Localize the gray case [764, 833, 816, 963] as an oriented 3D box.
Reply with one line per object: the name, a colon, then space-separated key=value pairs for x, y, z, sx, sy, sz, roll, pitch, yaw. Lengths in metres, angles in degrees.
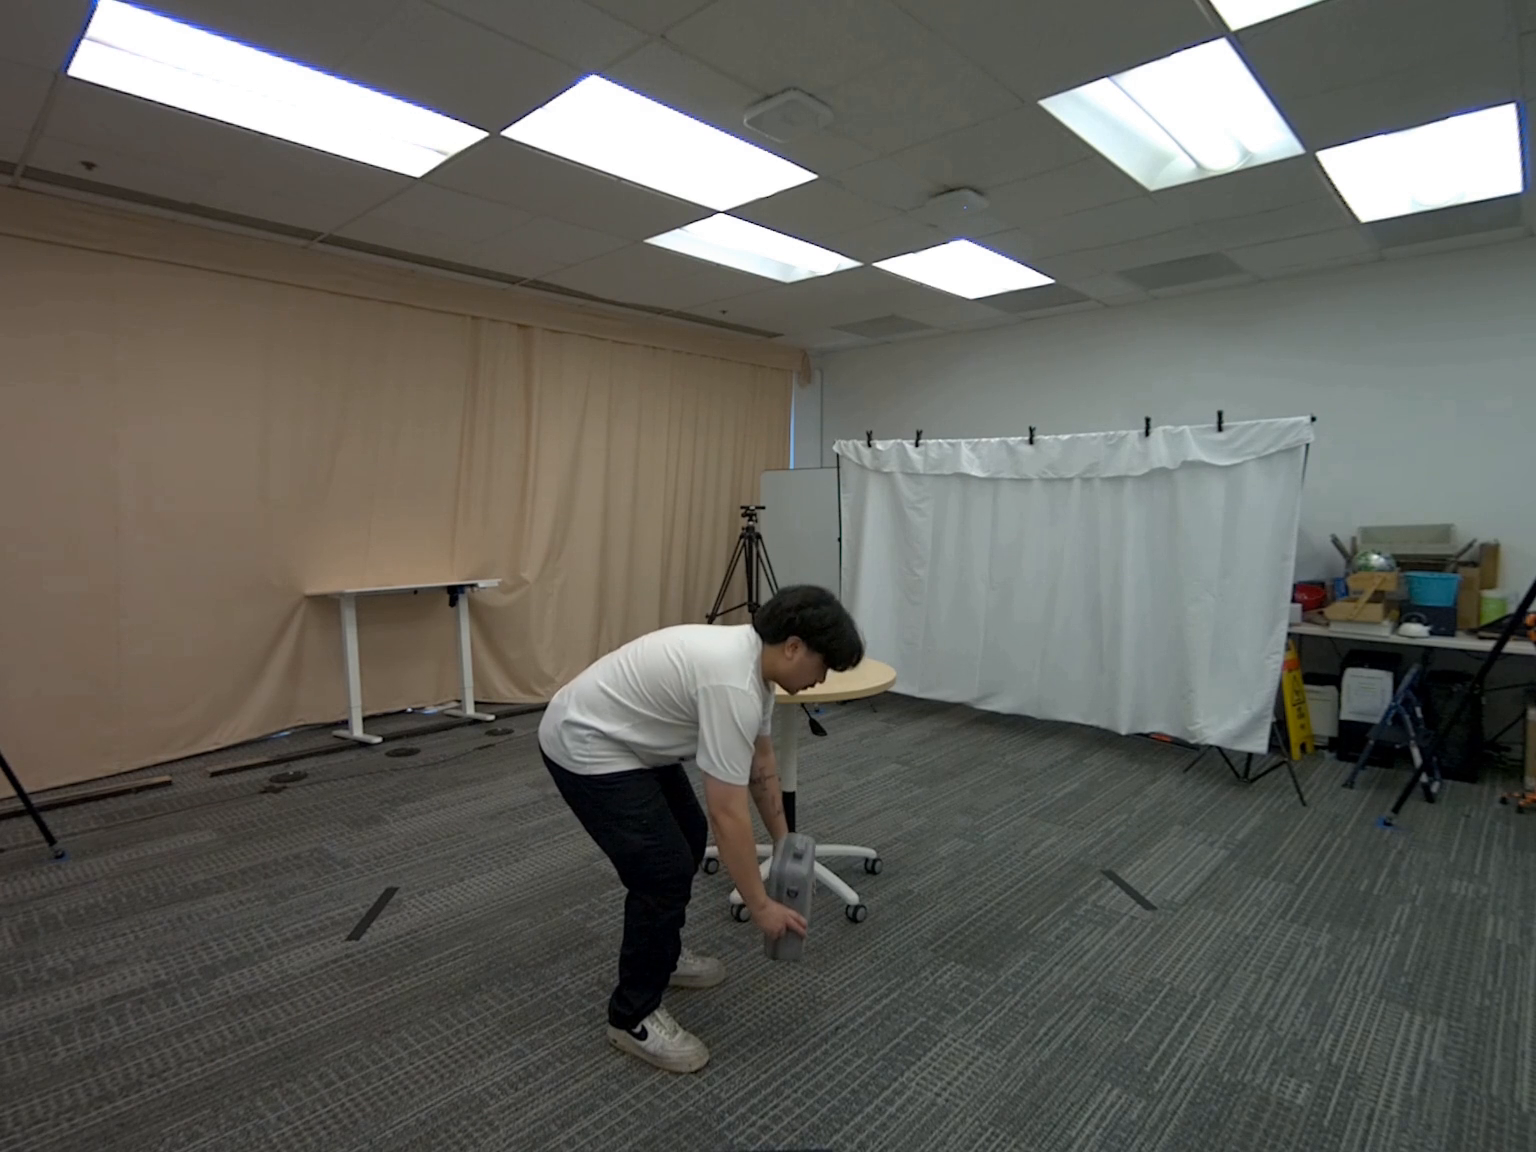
gray case: x=0.061 y=0.836 z=2.228 sx=0.105 sy=0.260 sz=0.255 roll=4 pitch=6 yaw=8
